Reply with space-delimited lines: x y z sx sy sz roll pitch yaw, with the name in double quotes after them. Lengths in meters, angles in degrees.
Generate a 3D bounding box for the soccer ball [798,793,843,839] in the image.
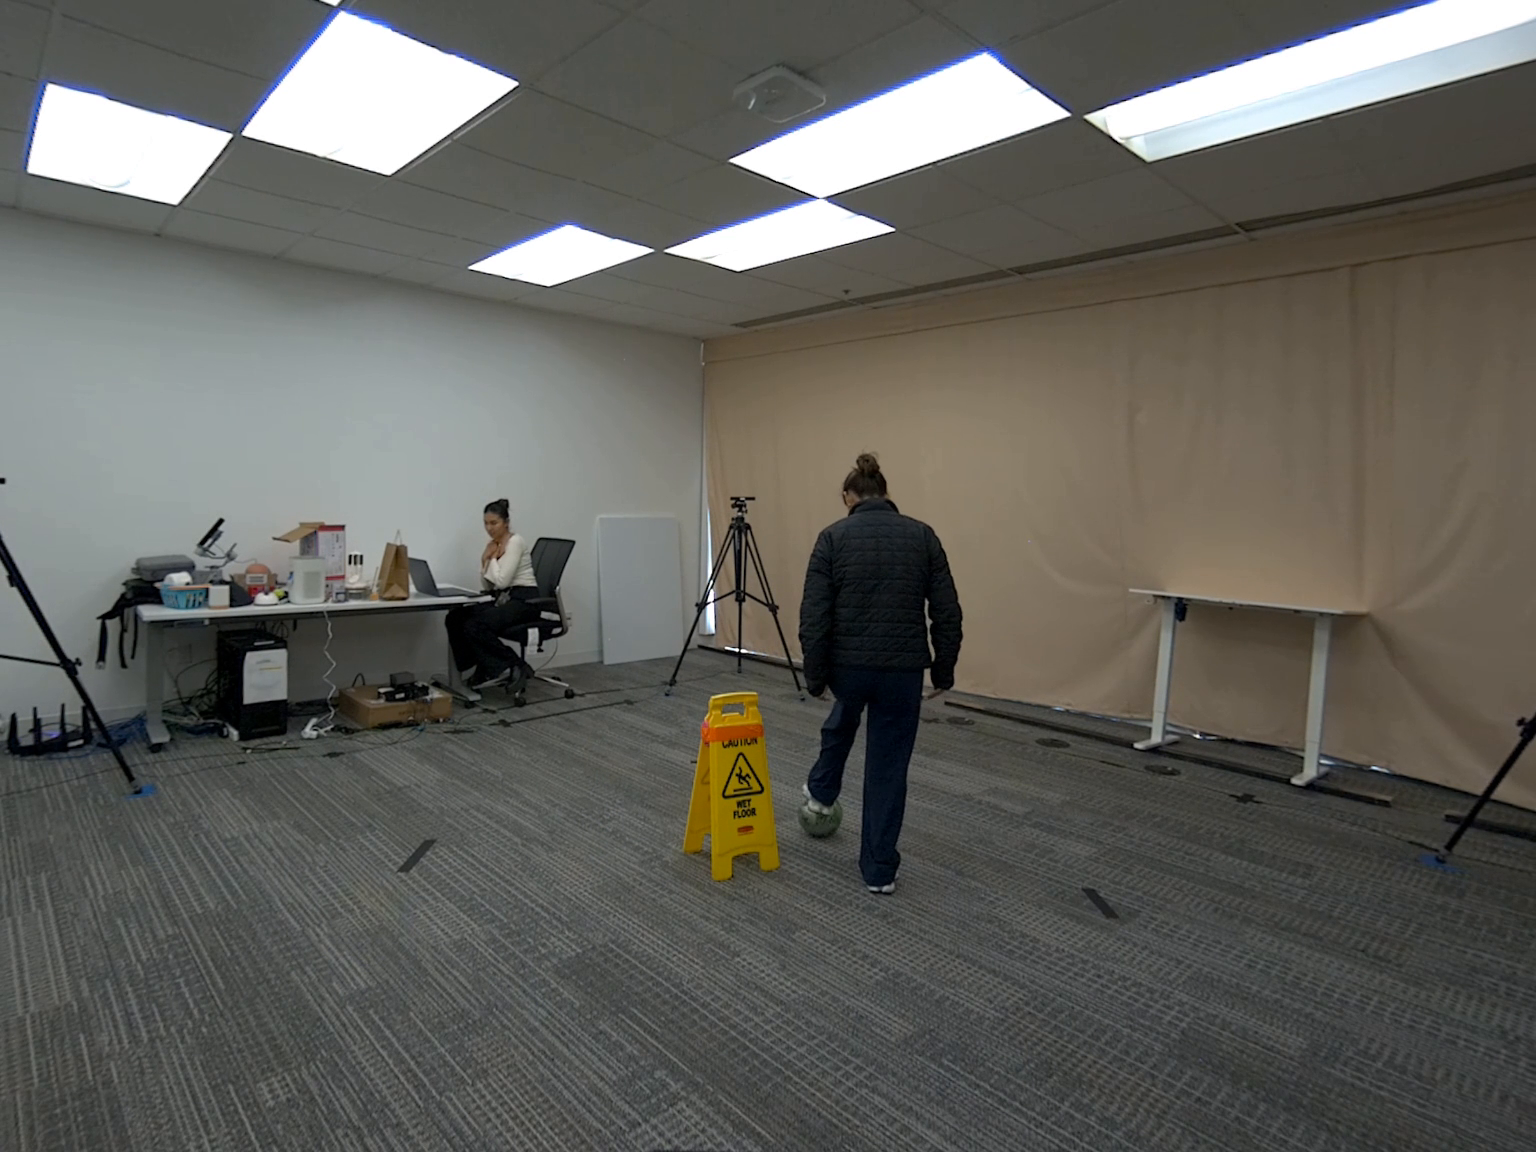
0.213 0.990 3.496 0.187 0.187 0.188 1 4 -1 "soccer ball"
